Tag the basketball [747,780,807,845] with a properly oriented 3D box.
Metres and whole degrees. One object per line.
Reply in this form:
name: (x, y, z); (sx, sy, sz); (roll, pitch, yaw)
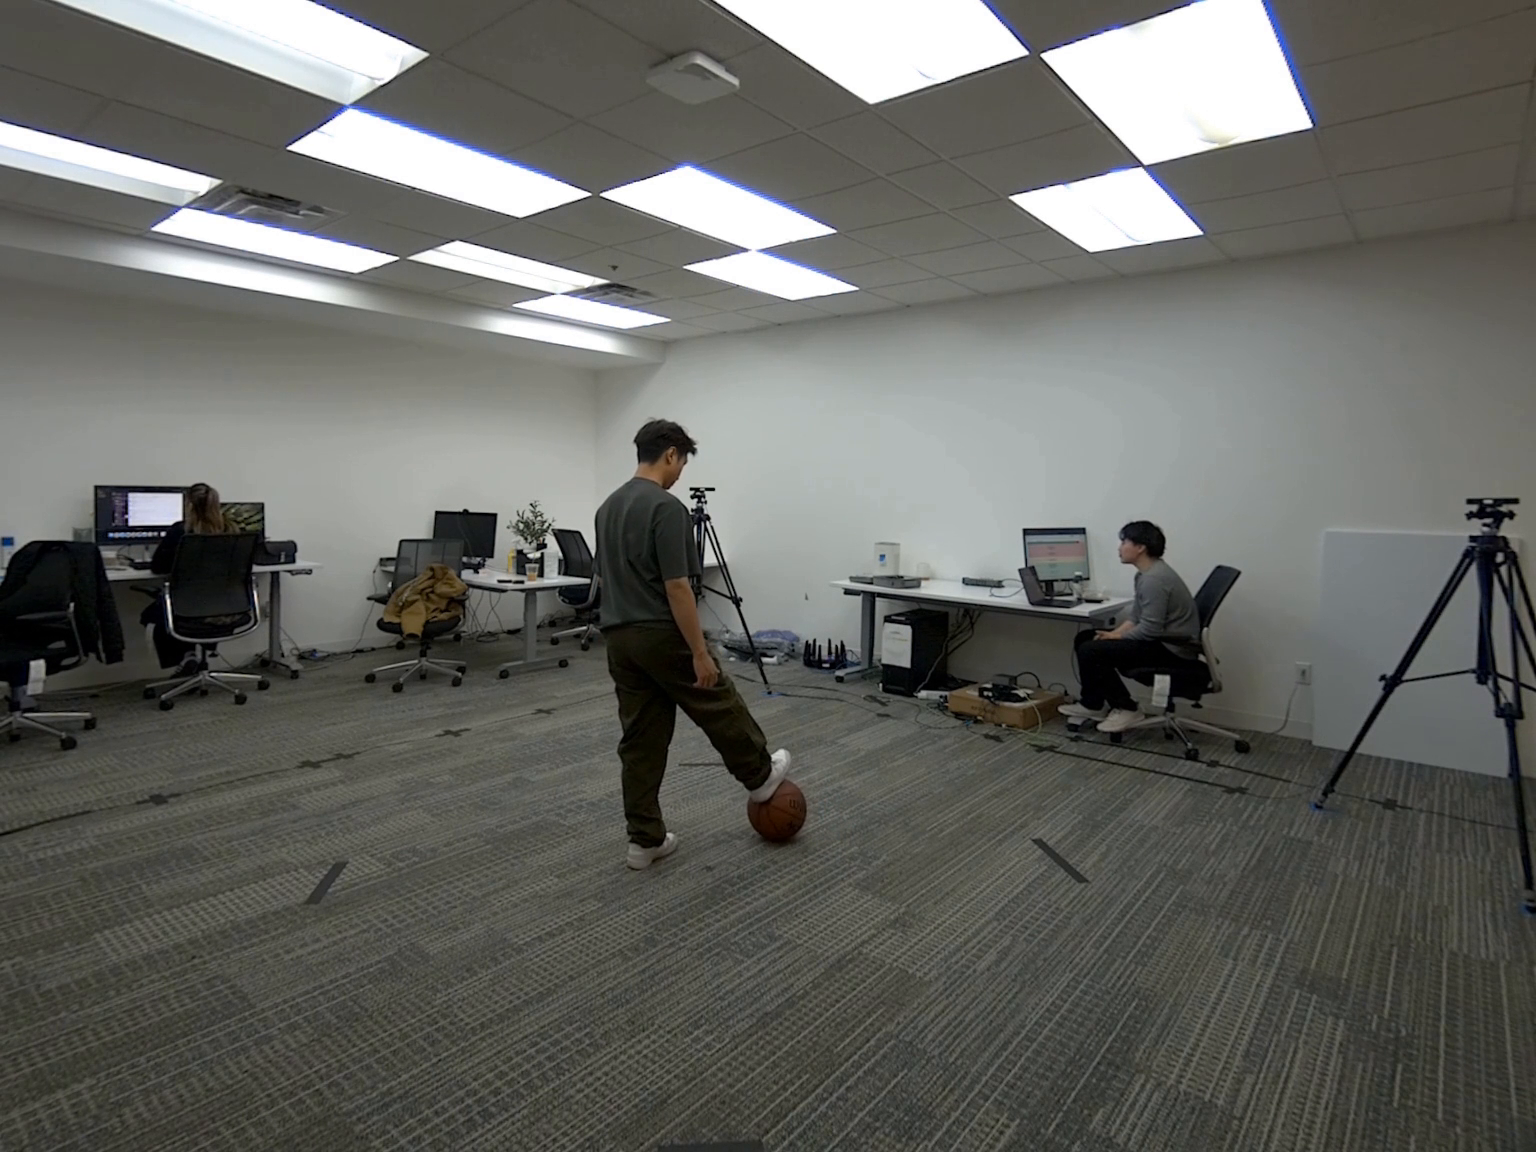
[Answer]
basketball: (0.027, 0.927, 3.396); (0.235, 0.235, 0.237); (1, 4, -2)
